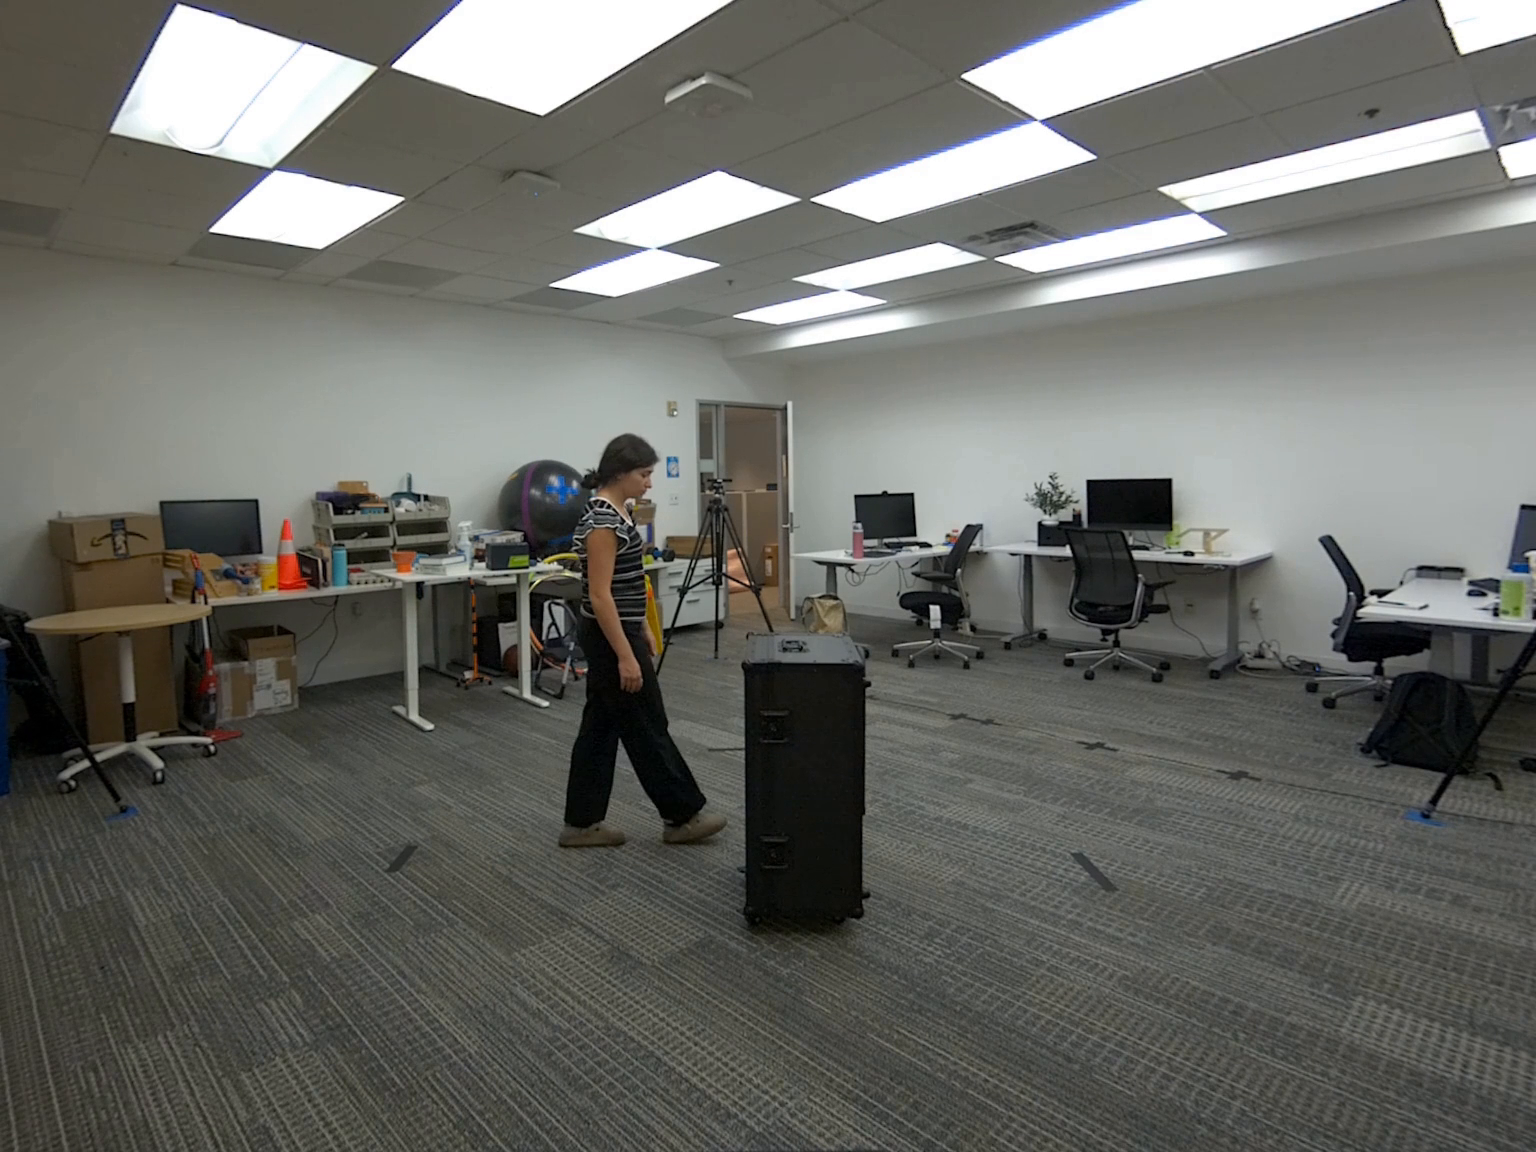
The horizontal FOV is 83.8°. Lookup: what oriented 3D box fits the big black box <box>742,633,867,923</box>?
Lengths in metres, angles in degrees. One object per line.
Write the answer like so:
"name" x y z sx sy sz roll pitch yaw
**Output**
"big black box" 0.124 0.656 2.796 0.397 0.858 0.522 0 4 2
